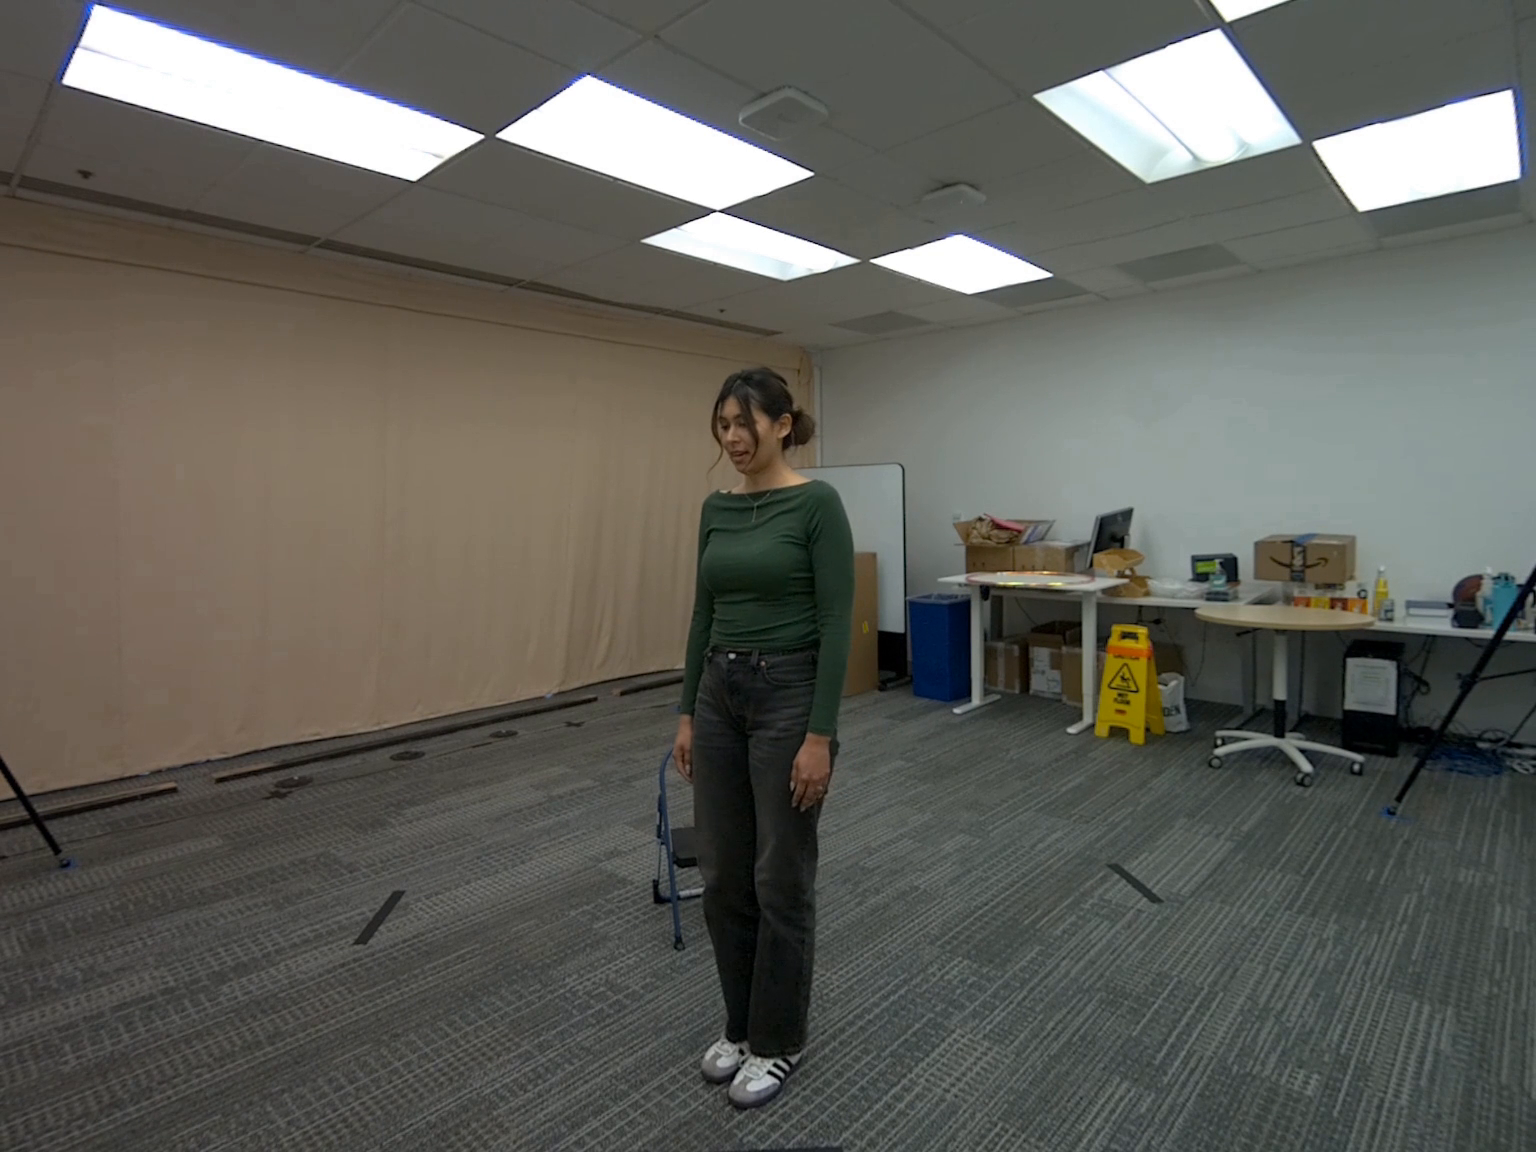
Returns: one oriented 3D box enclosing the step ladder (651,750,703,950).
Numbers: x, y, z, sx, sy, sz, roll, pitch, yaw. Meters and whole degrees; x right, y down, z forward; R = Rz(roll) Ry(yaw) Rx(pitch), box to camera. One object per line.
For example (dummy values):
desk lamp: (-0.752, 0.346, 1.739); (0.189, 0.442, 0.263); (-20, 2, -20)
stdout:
step ladder: (-0.154, 0.851, 2.851); (0.422, 0.604, 0.357); (-2, 4, -20)
